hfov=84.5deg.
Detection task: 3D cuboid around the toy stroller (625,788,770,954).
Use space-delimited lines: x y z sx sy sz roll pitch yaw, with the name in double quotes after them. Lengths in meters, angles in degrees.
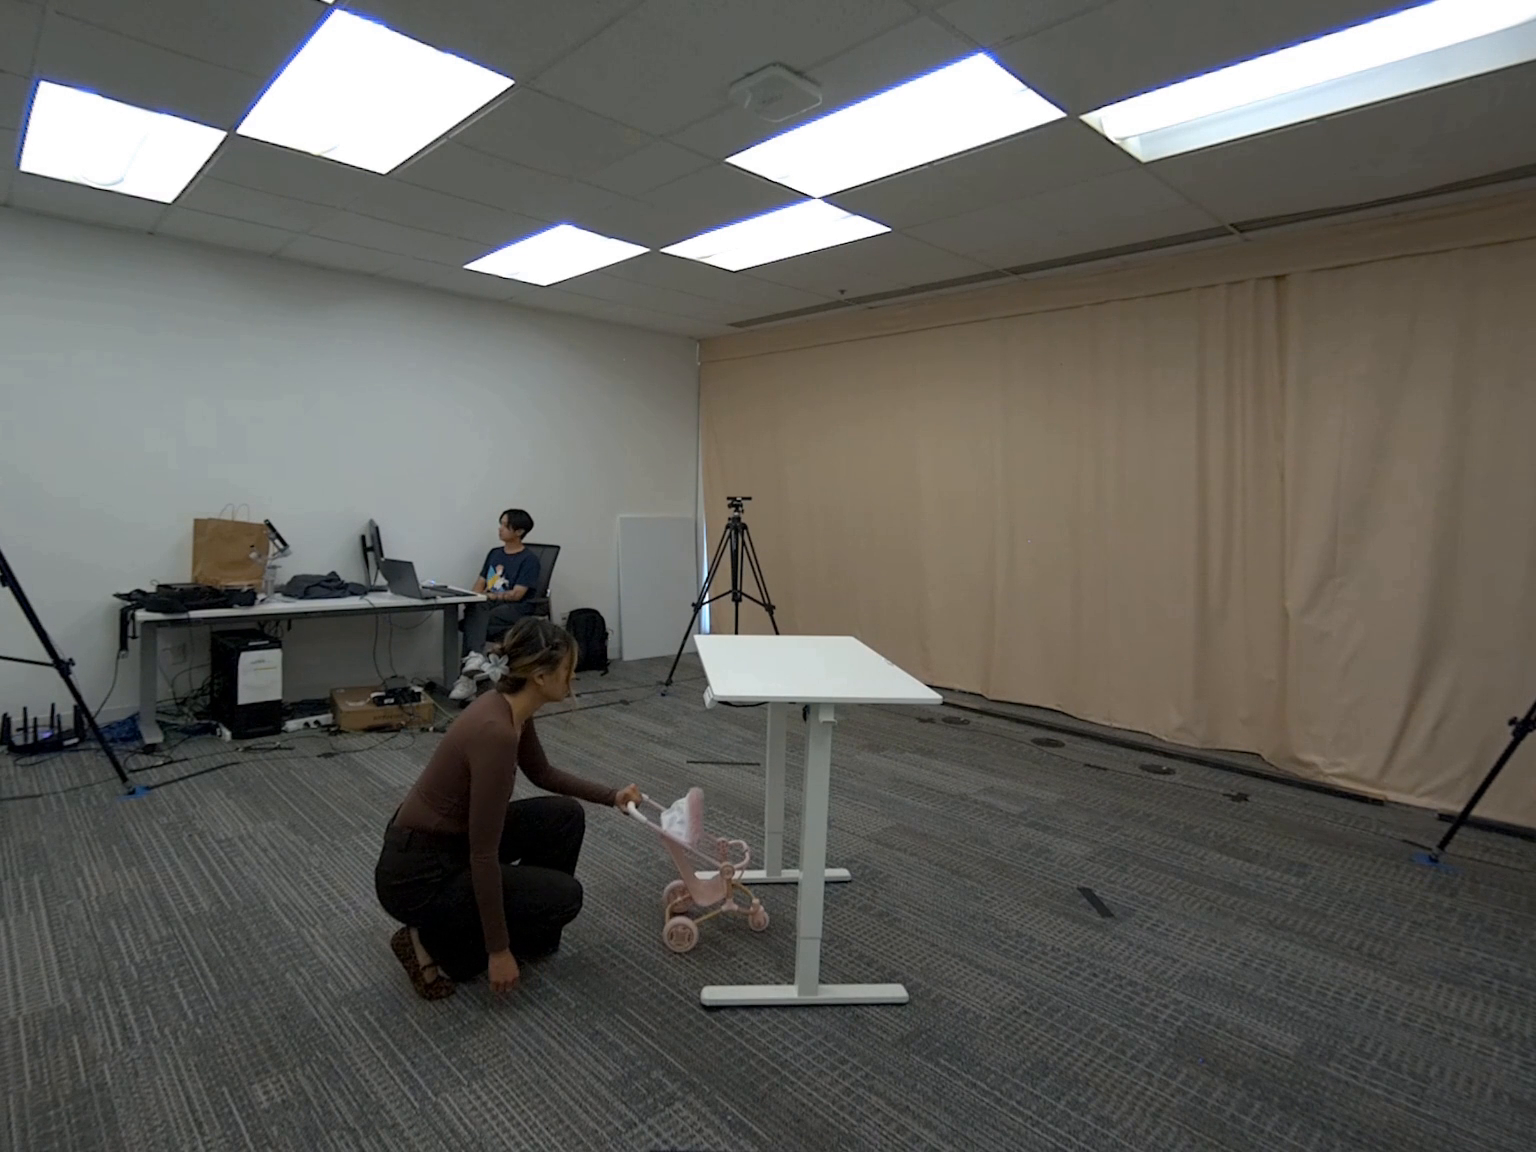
-0.219 0.915 2.685 0.341 0.533 0.282 -14 4 0 "toy stroller"
